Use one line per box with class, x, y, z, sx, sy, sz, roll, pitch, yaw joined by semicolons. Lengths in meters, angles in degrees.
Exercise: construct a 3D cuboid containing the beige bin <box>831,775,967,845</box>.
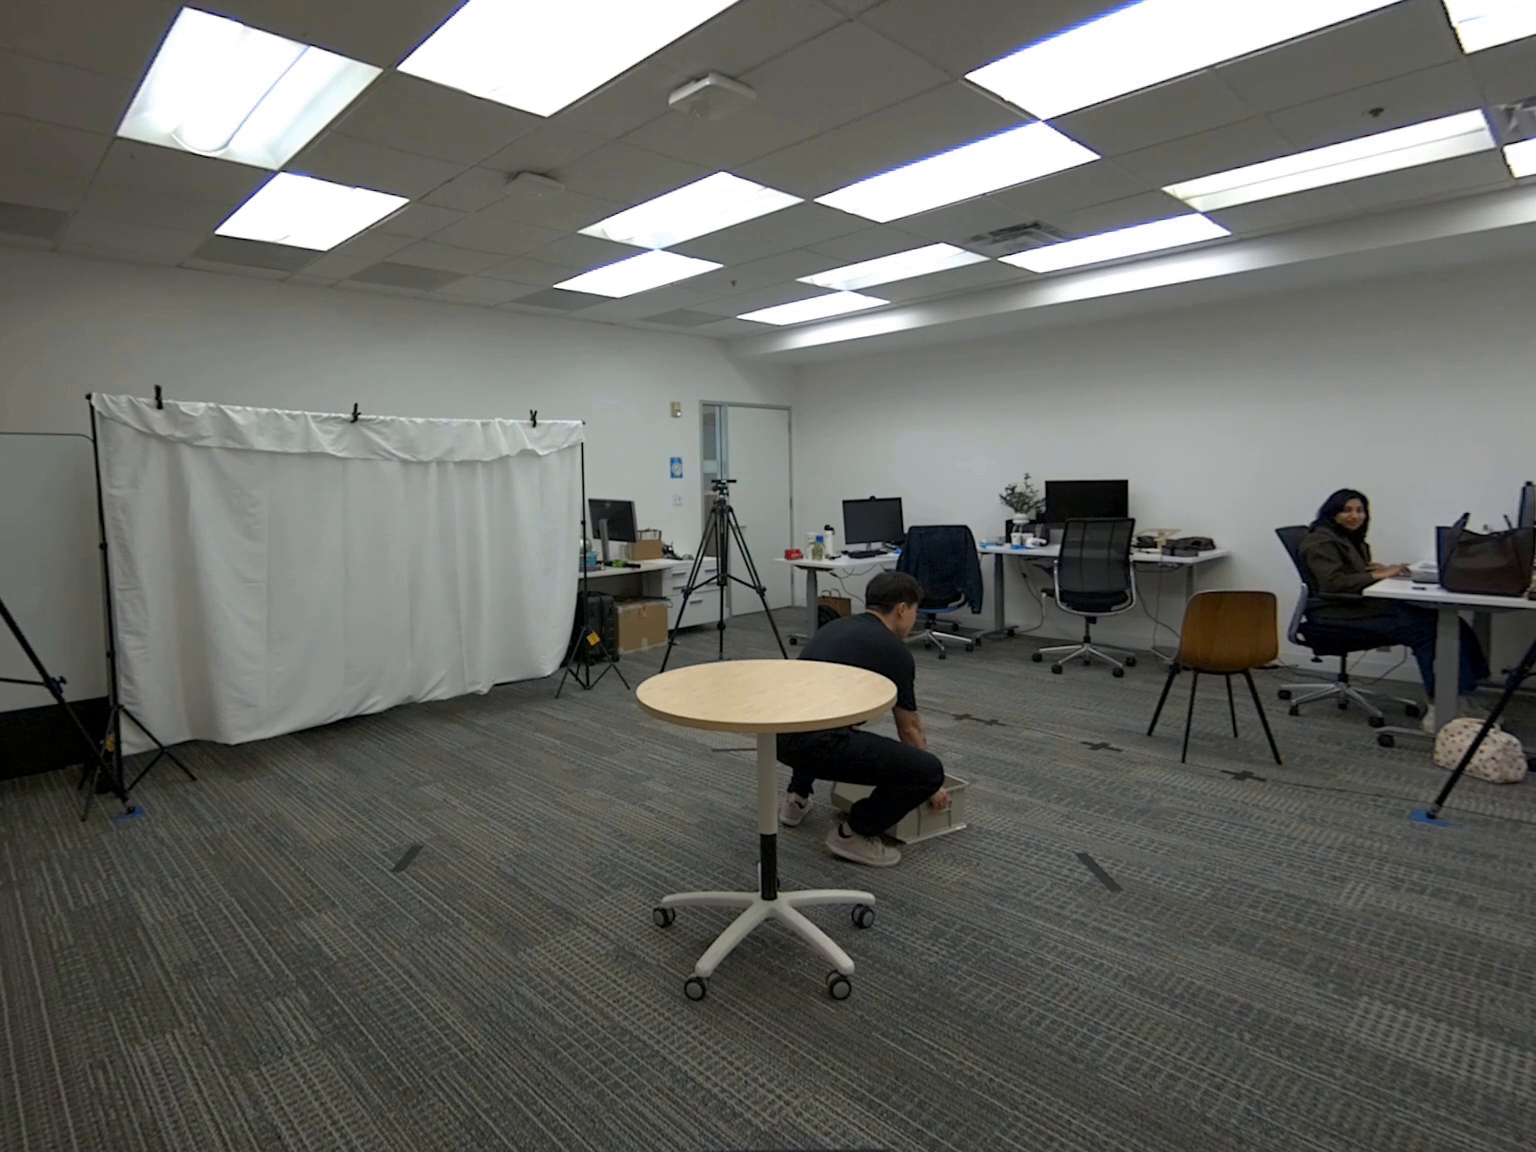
beige bin;0.540;0.904;3.472;0.368;0.188;0.434;-3;5;-29
